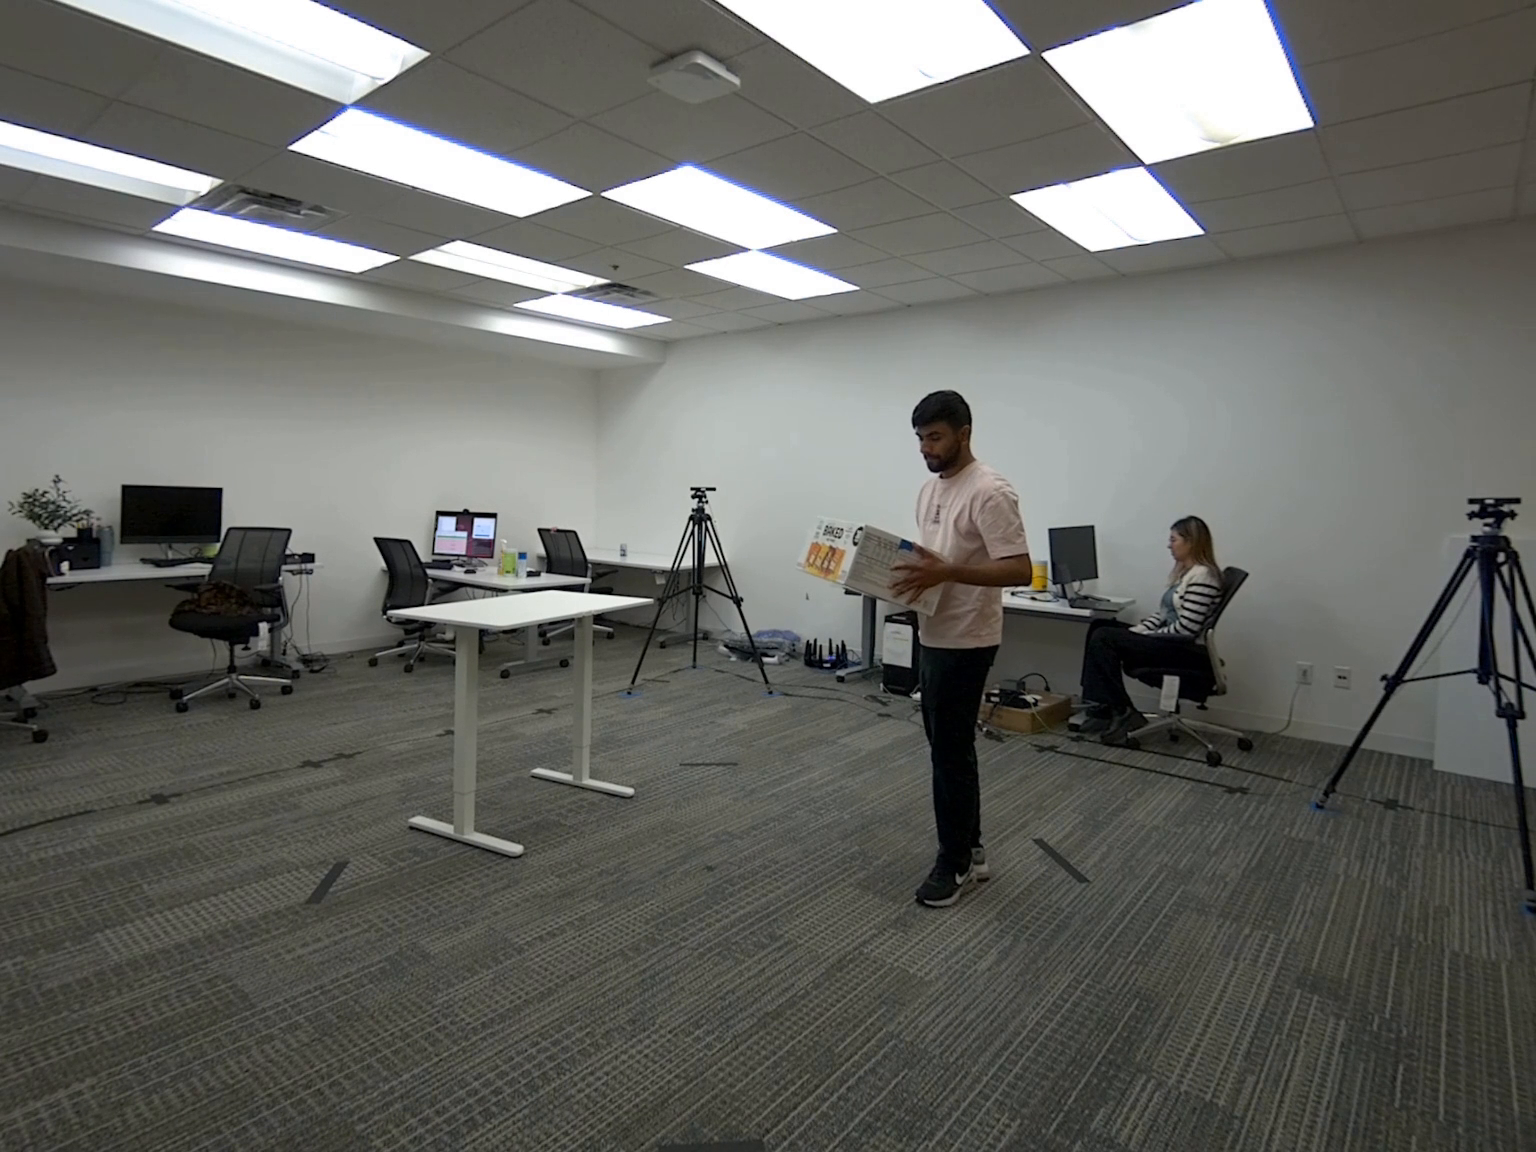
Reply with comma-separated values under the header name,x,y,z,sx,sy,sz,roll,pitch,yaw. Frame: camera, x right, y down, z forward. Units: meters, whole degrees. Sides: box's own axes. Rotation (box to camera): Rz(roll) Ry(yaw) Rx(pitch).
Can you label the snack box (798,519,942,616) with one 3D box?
name,x,y,z,sx,sy,sz,roll,pitch,yaw
snack box,0.346,-0.044,2.892,0.332,0.205,0.415,20,1,-20
